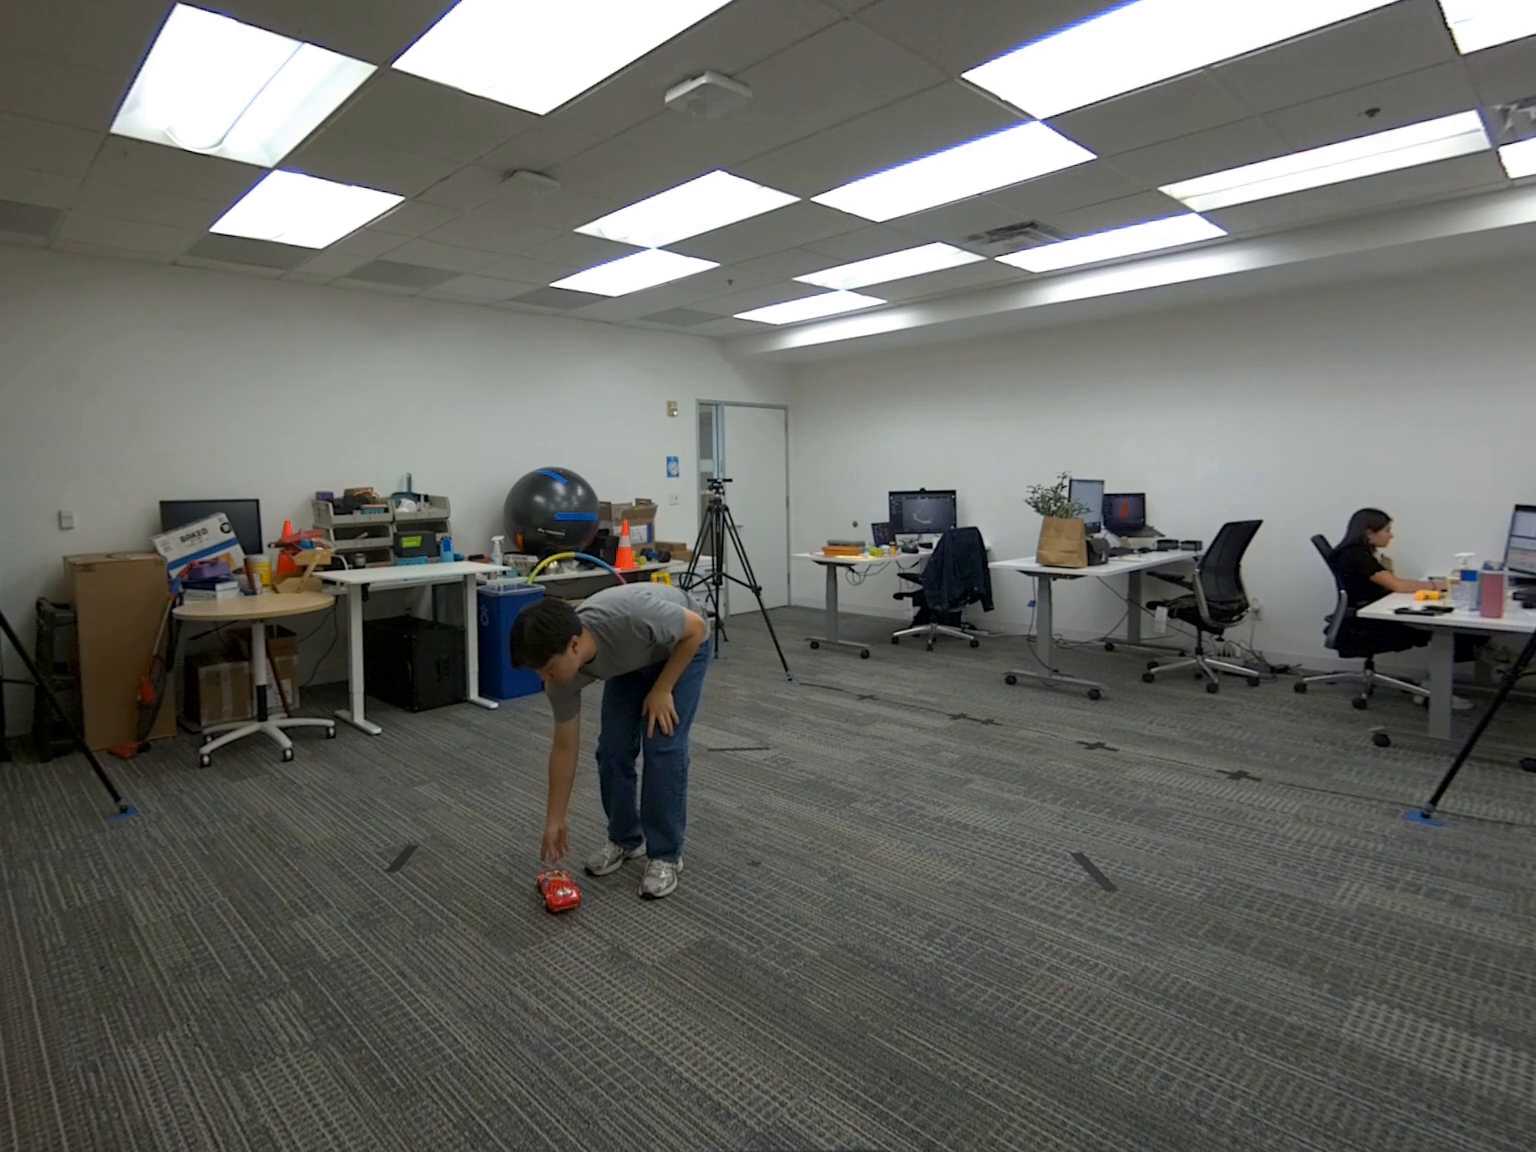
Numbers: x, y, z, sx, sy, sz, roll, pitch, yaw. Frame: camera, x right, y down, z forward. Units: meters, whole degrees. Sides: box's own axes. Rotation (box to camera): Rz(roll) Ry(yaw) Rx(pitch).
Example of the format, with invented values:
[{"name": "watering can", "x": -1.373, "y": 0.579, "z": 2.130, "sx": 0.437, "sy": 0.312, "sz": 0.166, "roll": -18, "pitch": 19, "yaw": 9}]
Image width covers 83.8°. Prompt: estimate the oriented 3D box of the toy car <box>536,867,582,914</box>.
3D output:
[{"name": "toy car", "x": -0.695, "y": 1.055, "z": 2.852, "sx": 0.128, "sy": 0.083, "sz": 0.258, "roll": -5, "pitch": -2, "yaw": -24}]
